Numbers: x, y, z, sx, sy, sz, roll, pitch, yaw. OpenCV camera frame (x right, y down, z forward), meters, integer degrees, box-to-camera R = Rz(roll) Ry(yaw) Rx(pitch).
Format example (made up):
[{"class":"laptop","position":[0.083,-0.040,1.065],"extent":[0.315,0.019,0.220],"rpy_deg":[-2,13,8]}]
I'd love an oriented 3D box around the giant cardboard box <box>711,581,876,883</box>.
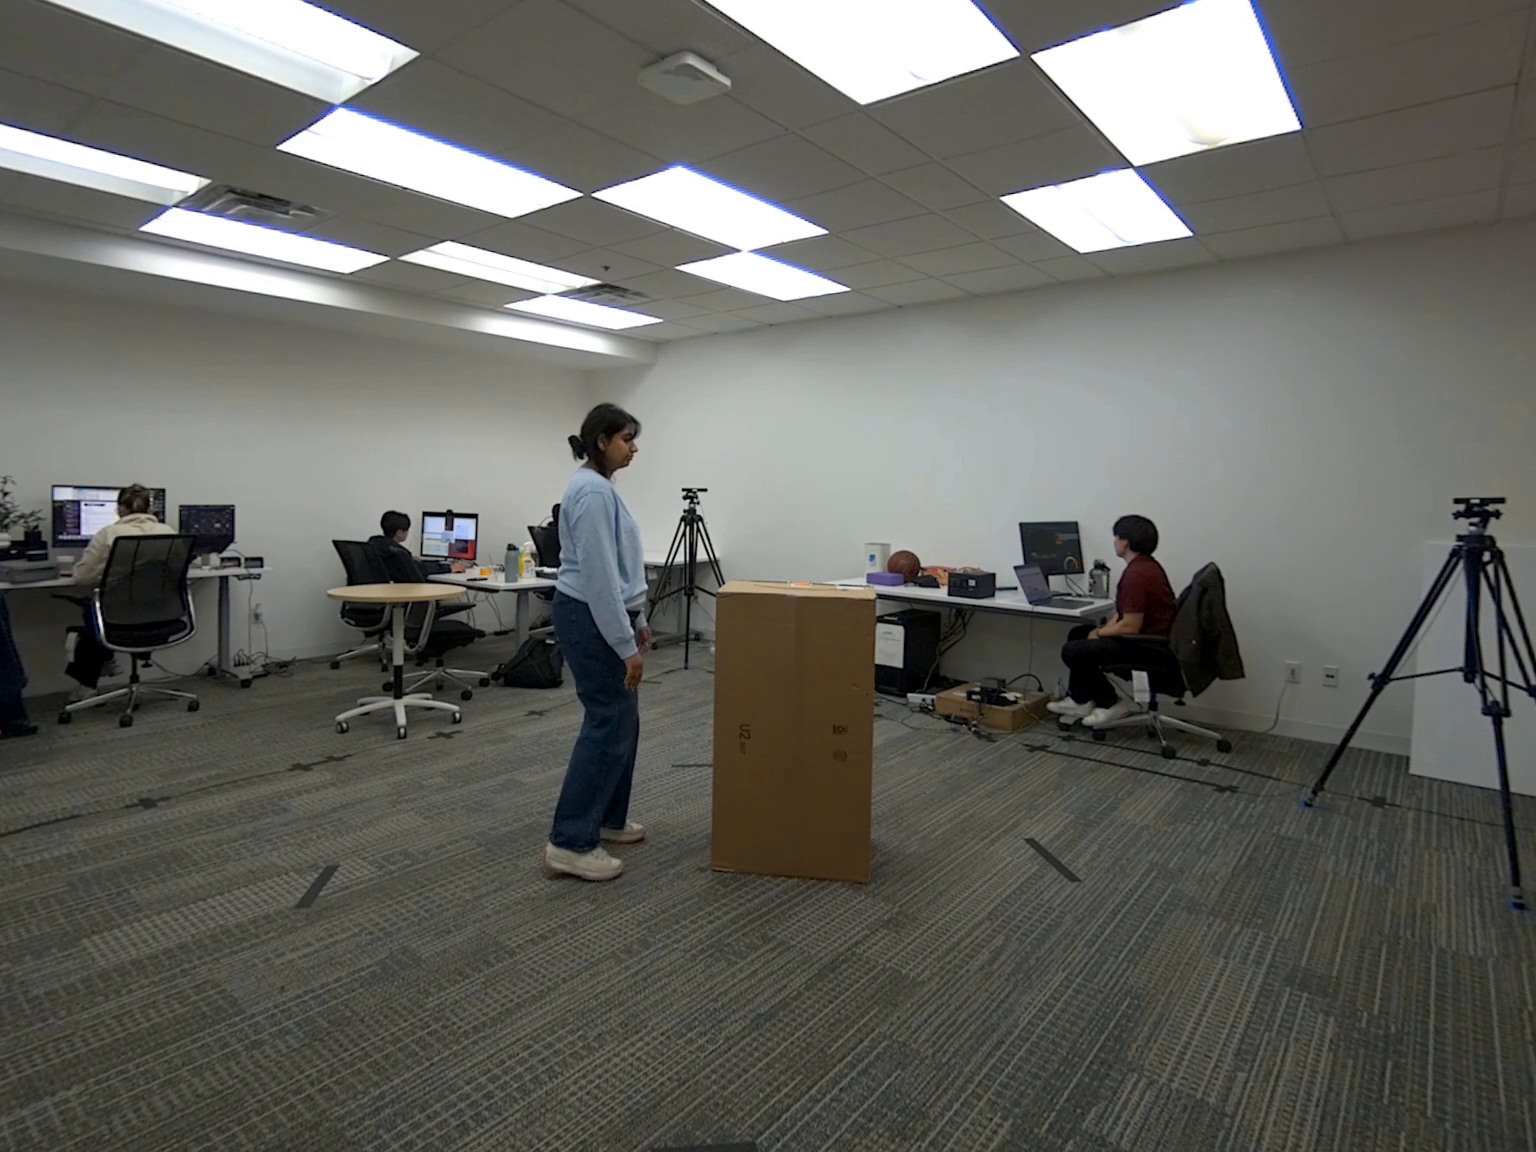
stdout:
[{"class":"giant cardboard box","position":[0.096,0.556,3.240],"extent":[0.582,1.023,0.424],"rpy_deg":[2,3,7]}]
